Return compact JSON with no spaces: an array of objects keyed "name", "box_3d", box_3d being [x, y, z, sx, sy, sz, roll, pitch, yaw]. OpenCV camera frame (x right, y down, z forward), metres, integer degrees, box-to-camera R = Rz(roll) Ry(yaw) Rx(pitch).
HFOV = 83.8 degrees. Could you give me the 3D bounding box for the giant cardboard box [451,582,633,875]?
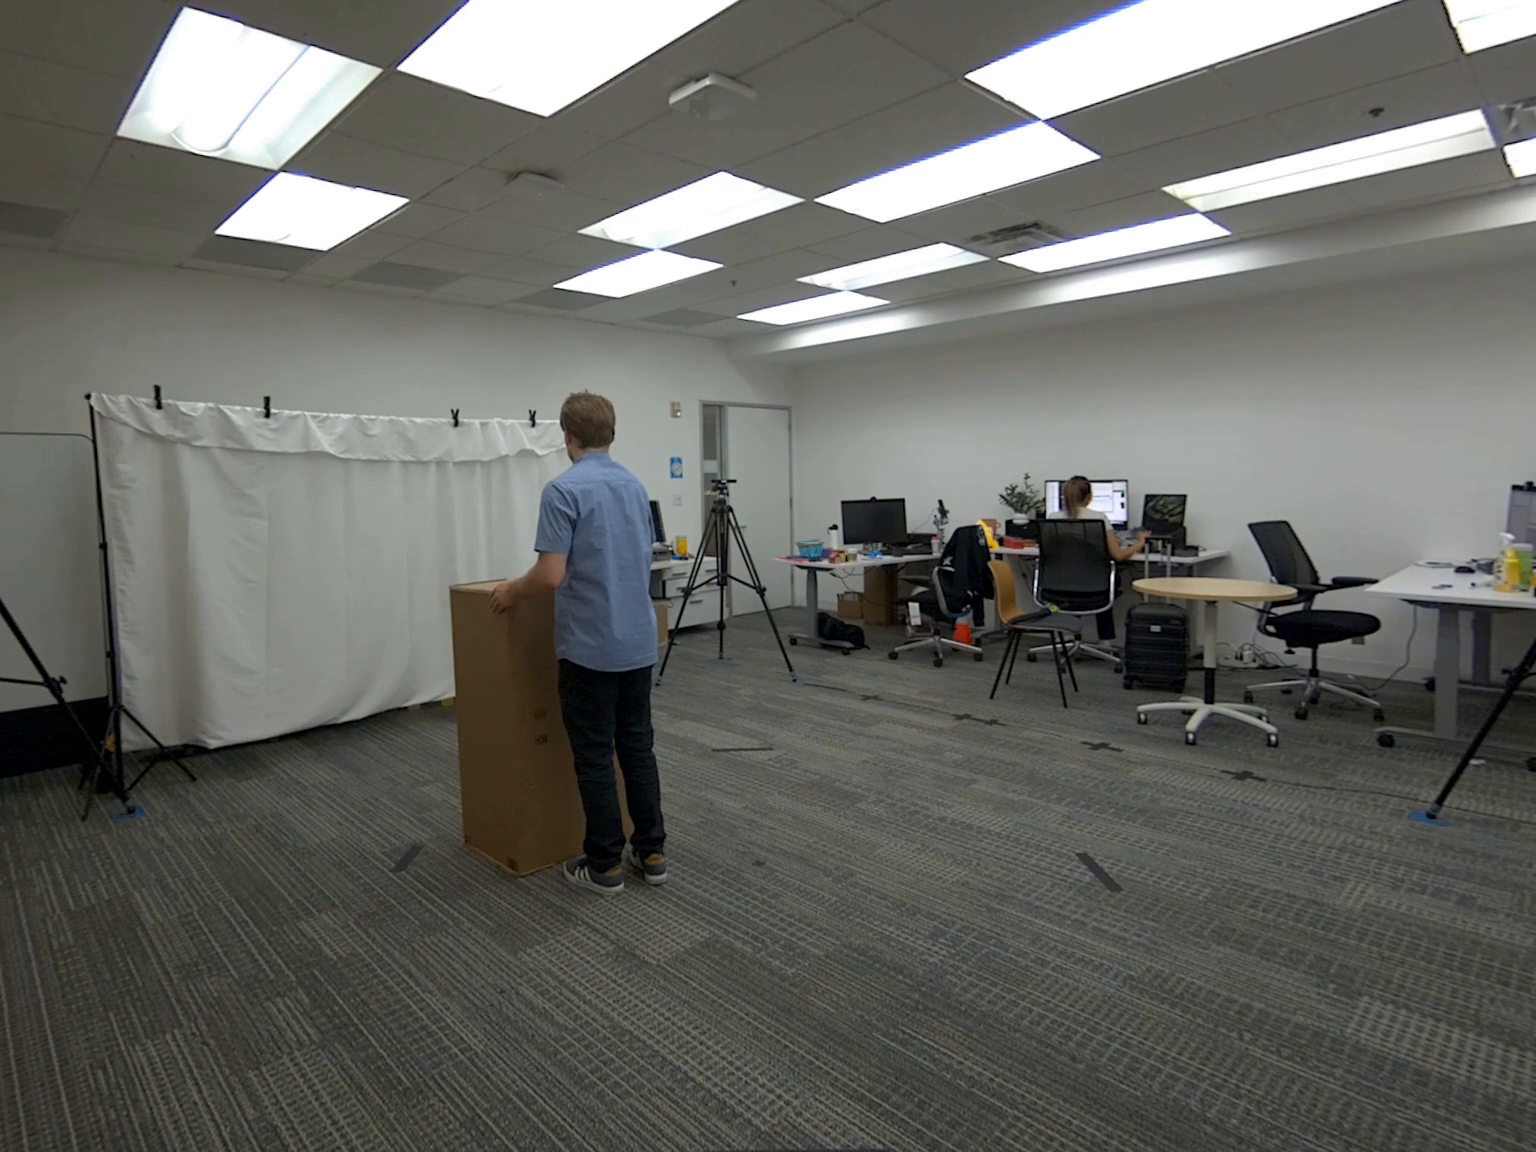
[{"name":"giant cardboard box","box_3d":[-0.866,0.529,3.357,0.439,1.022,0.562,2,6,45]}]
